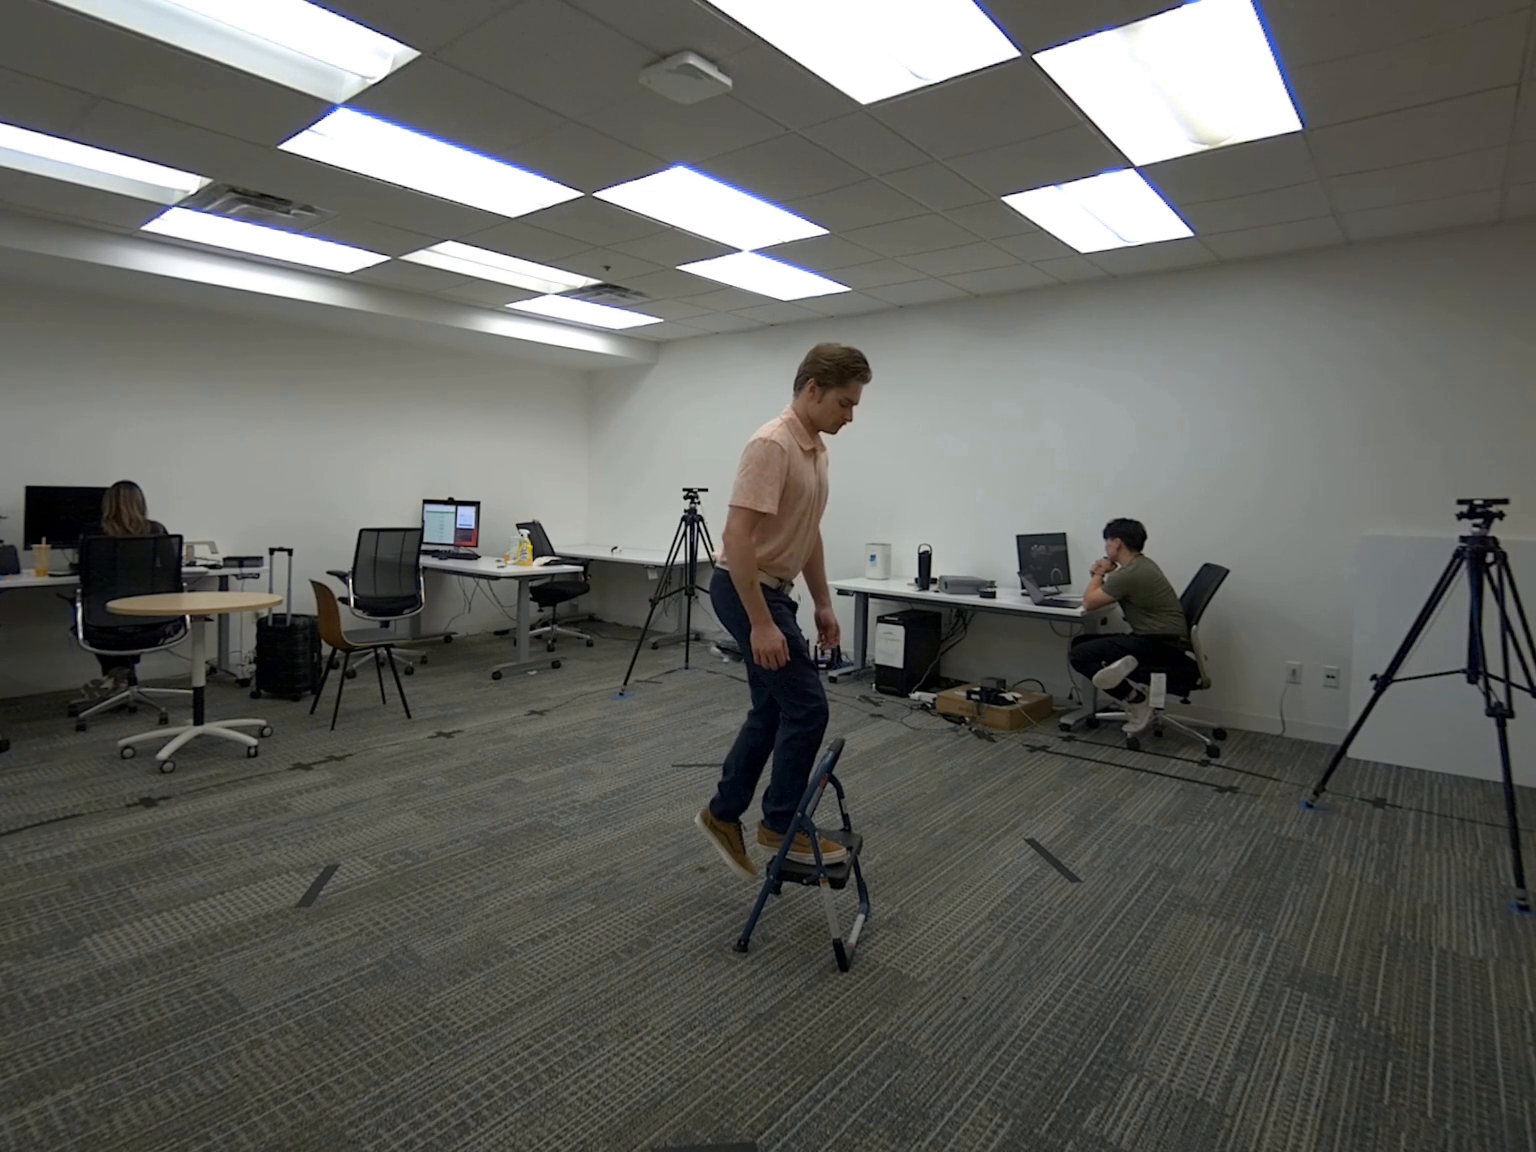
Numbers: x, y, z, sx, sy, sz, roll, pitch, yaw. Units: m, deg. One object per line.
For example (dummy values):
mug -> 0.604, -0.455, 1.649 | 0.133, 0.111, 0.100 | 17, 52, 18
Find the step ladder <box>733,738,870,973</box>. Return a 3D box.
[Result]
step ladder -> 0.125, 0.818, 2.689 | 0.356, 0.604, 0.424 | 3, 4, 17
